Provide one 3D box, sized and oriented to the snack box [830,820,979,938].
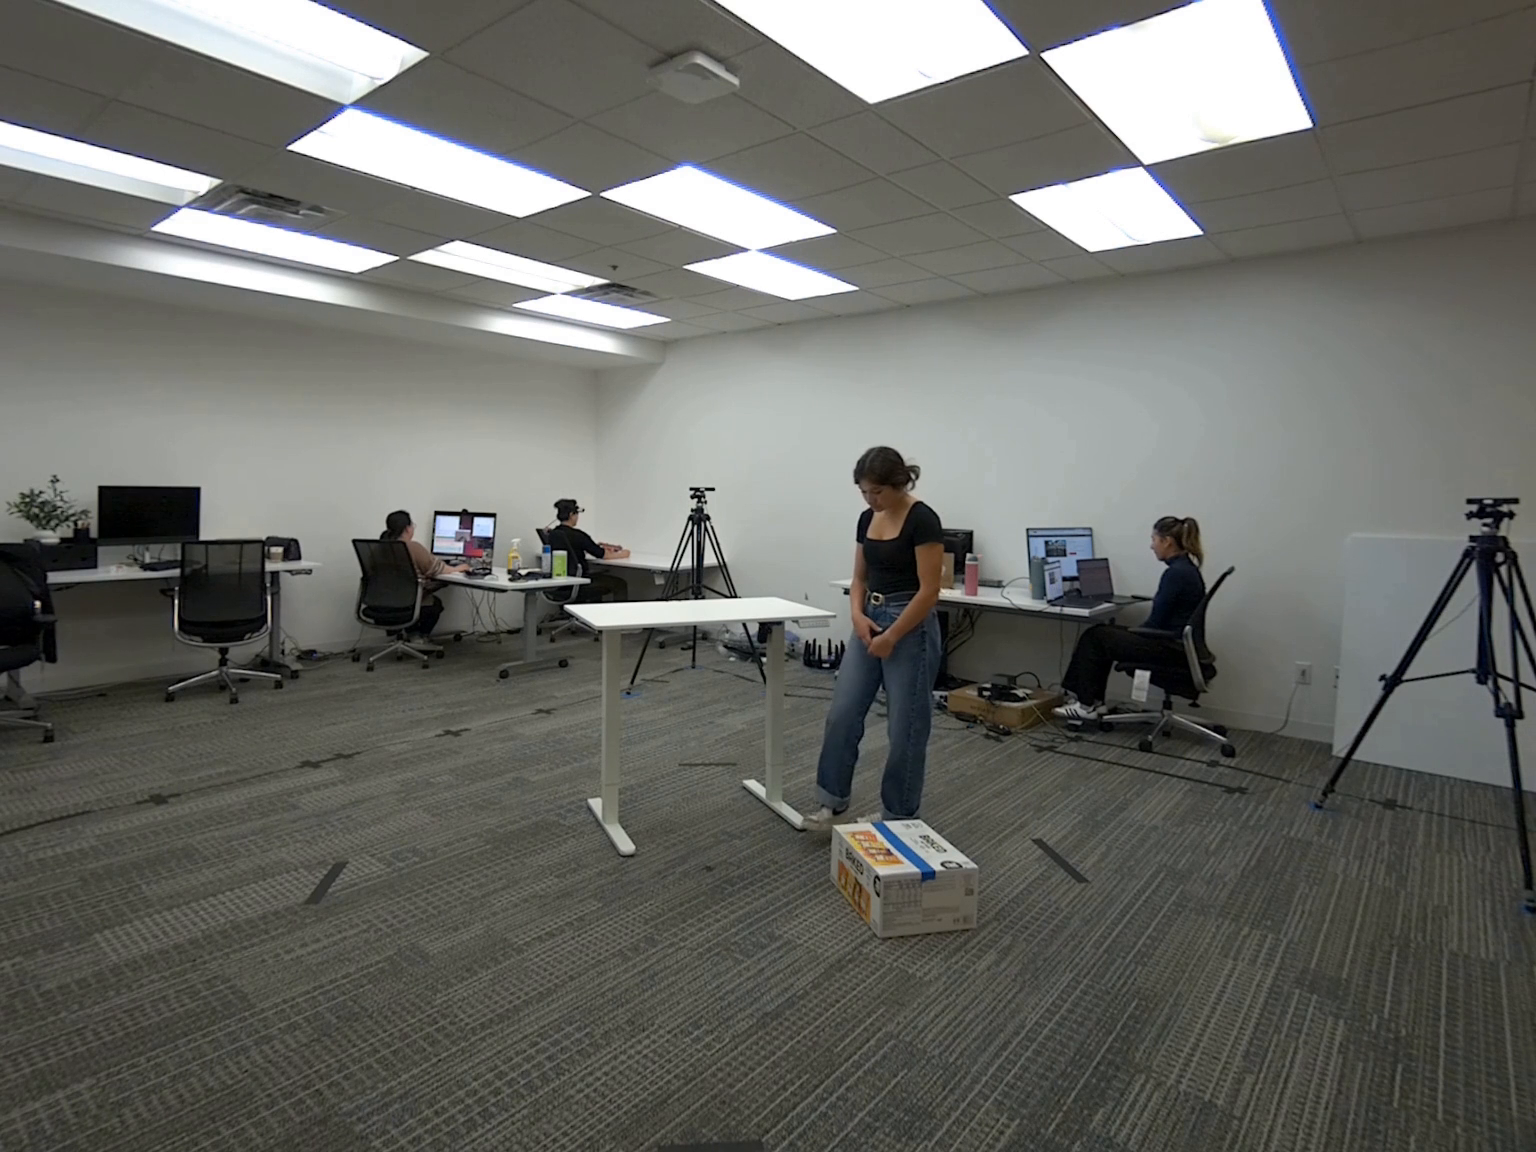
[{"bbox_3d":[0.445,1.004,2.869,0.335,0.205,0.413,0,5,-16],"label":"snack box"}]
